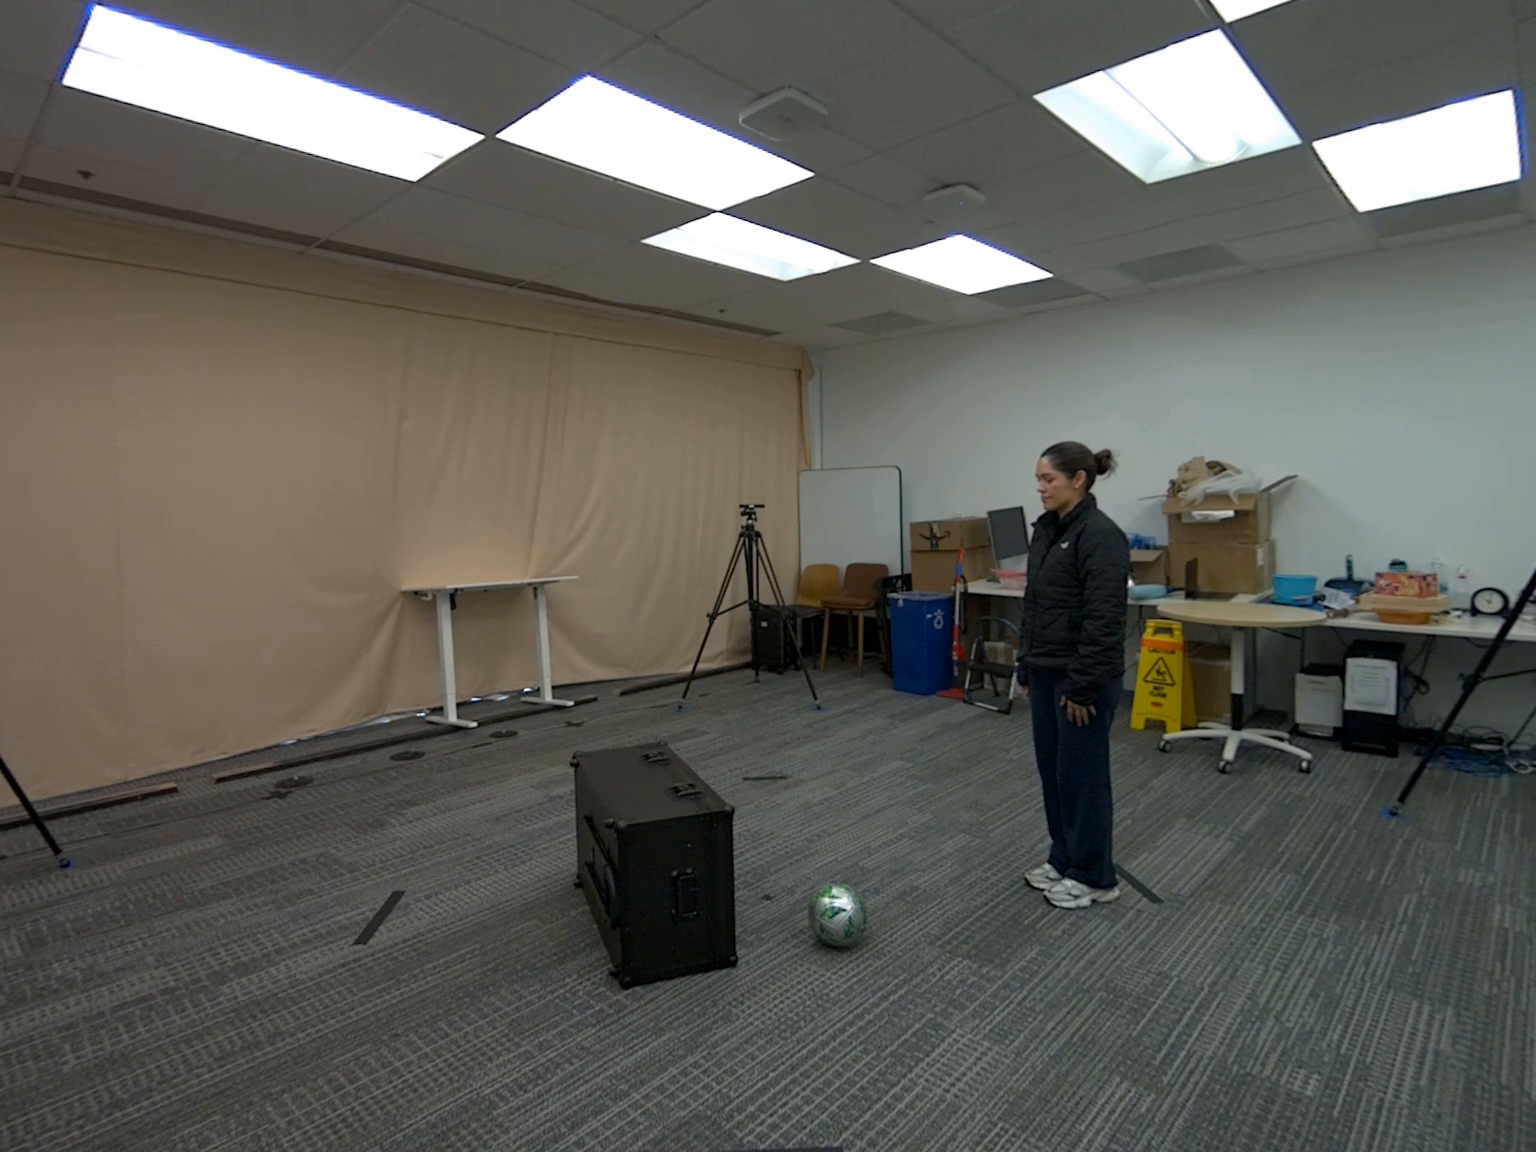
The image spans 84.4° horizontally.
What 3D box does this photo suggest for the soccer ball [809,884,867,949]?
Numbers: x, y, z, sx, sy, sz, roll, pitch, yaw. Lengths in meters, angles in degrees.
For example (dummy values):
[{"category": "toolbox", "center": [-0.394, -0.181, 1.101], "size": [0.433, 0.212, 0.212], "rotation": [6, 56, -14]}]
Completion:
[{"category": "soccer ball", "center": [0.222, 1.072, 2.659], "size": [0.187, 0.187, 0.188], "rotation": [-1, 4, -2]}]
